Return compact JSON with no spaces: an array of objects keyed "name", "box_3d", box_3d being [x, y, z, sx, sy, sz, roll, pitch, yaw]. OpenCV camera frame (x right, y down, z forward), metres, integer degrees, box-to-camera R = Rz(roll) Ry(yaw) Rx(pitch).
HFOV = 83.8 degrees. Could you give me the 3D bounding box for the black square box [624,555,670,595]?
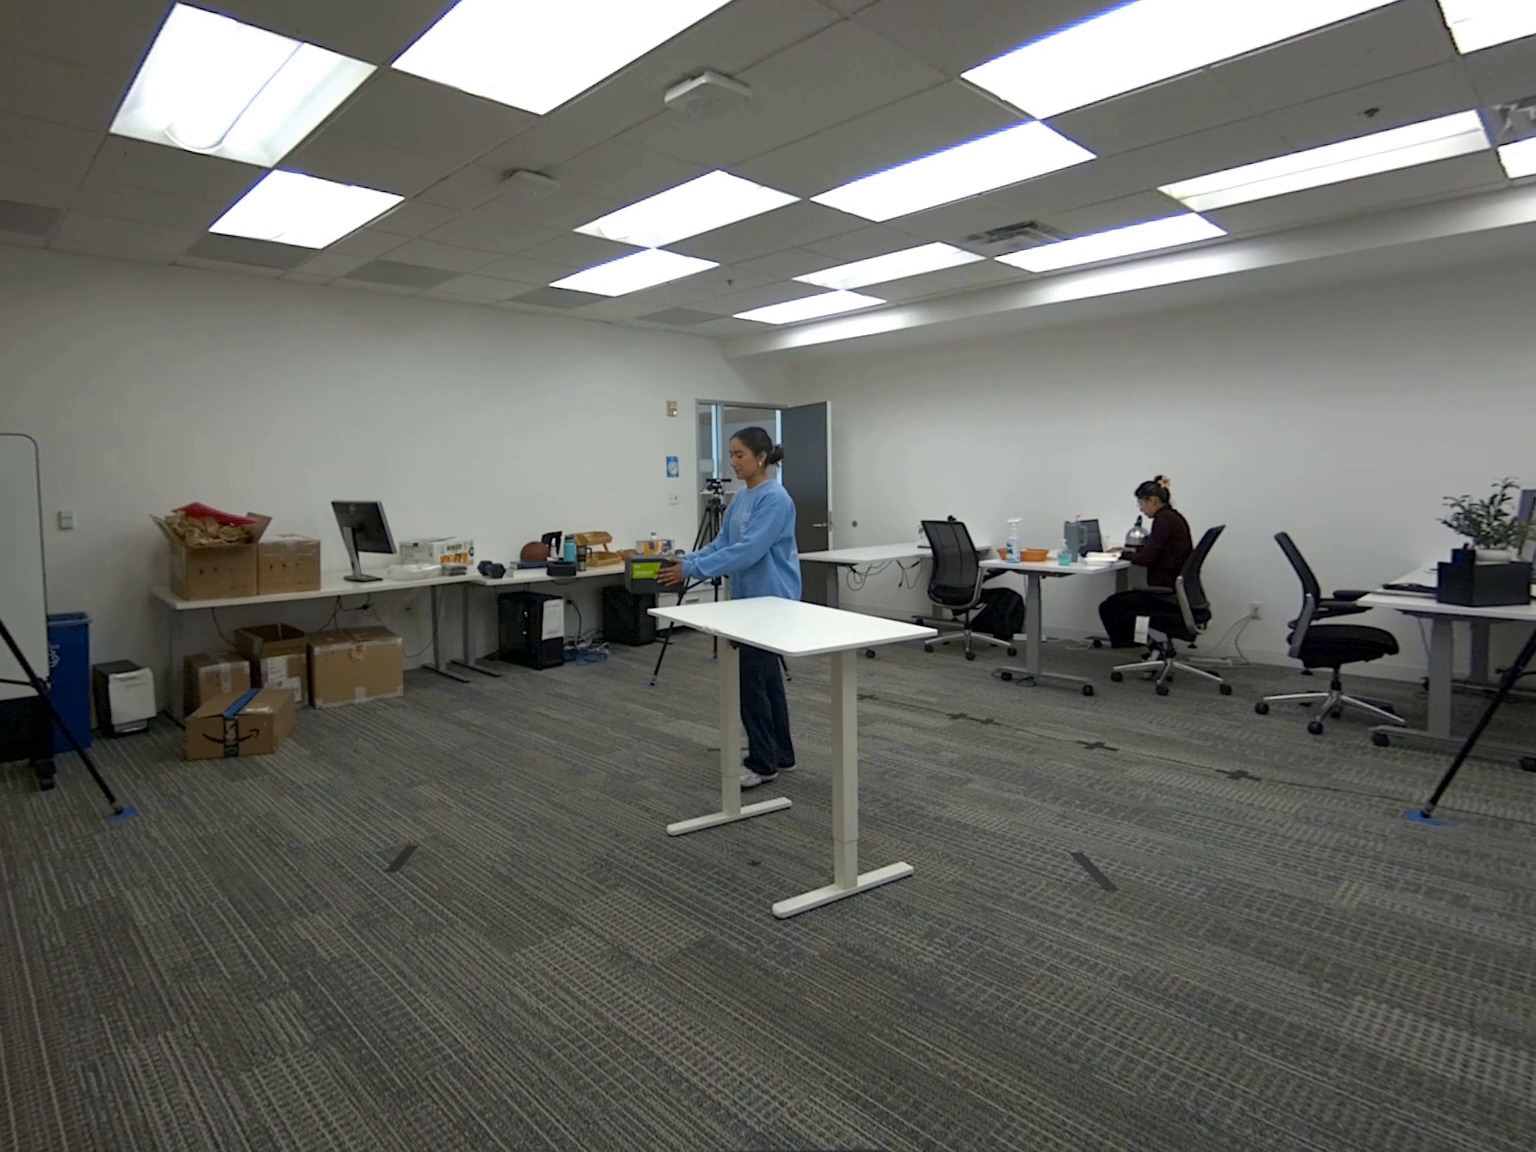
[{"name":"black square box","box_3d":[-0.521,-0.006,3.873,0.225,0.155,0.221,0,6,-14]}]
